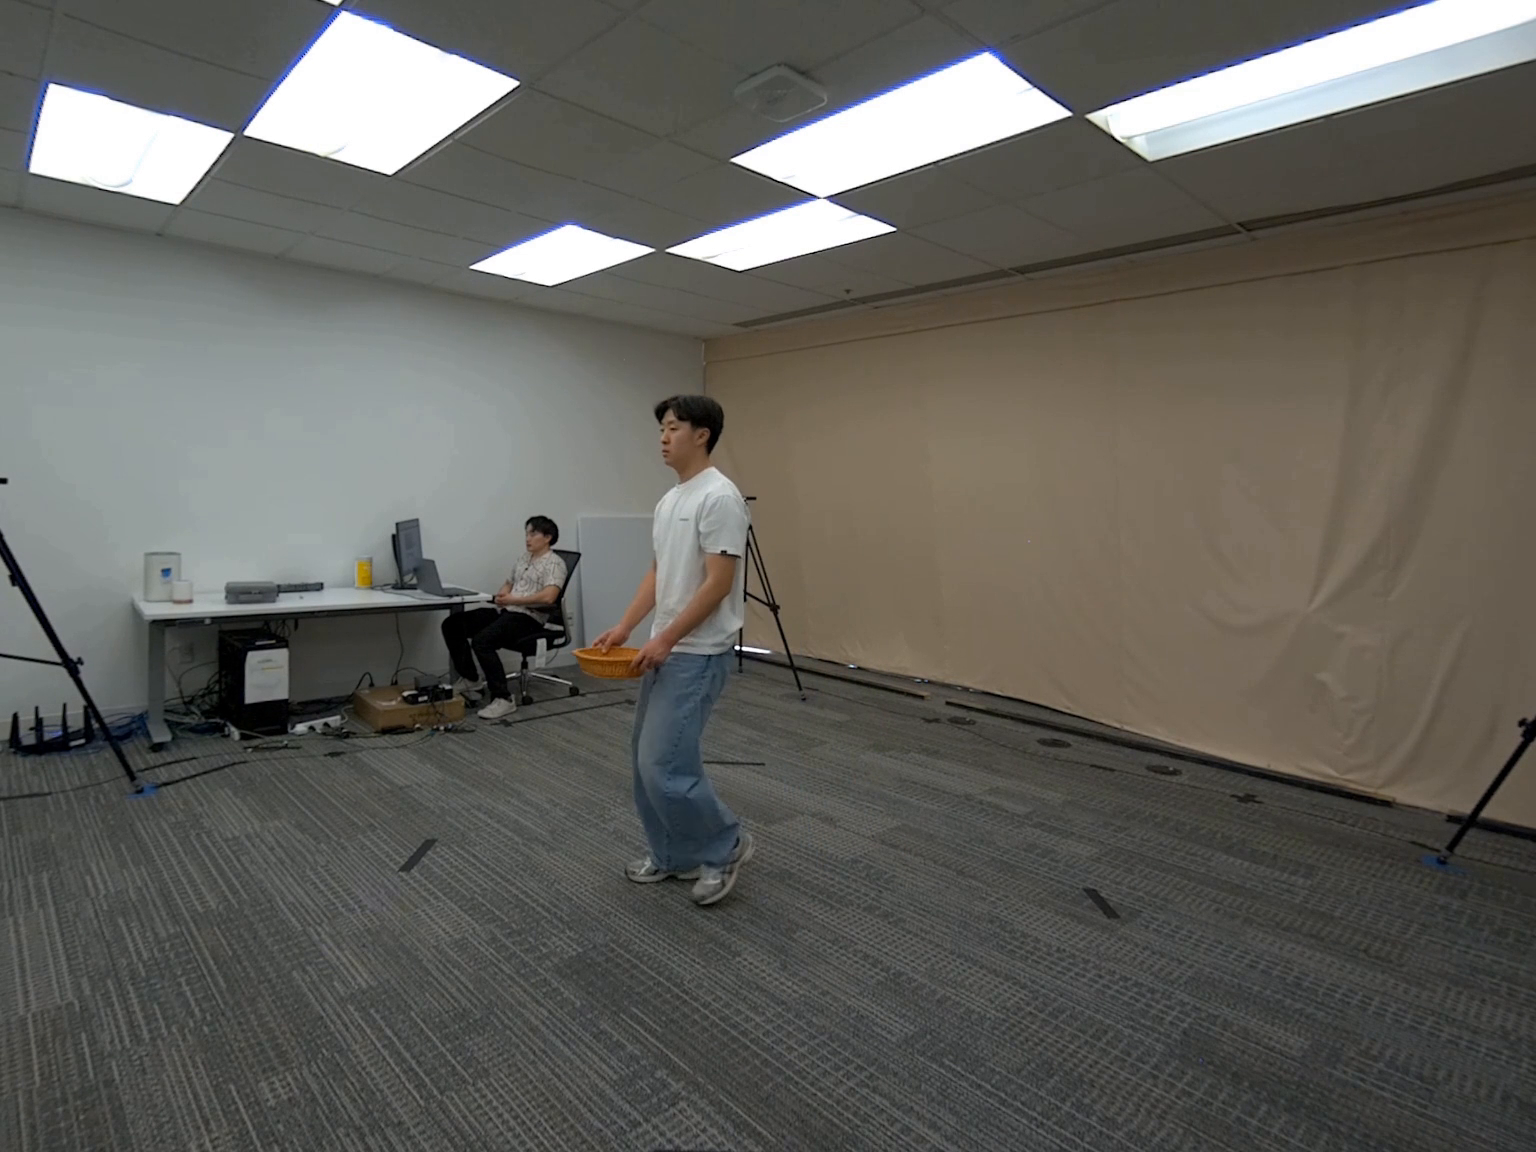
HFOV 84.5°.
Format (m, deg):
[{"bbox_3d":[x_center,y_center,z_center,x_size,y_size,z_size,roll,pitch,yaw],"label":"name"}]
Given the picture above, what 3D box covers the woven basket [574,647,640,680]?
[{"bbox_3d":[-0.523,0.293,2.865,0.247,0.073,0.357,0,0,-31],"label":"woven basket"}]
